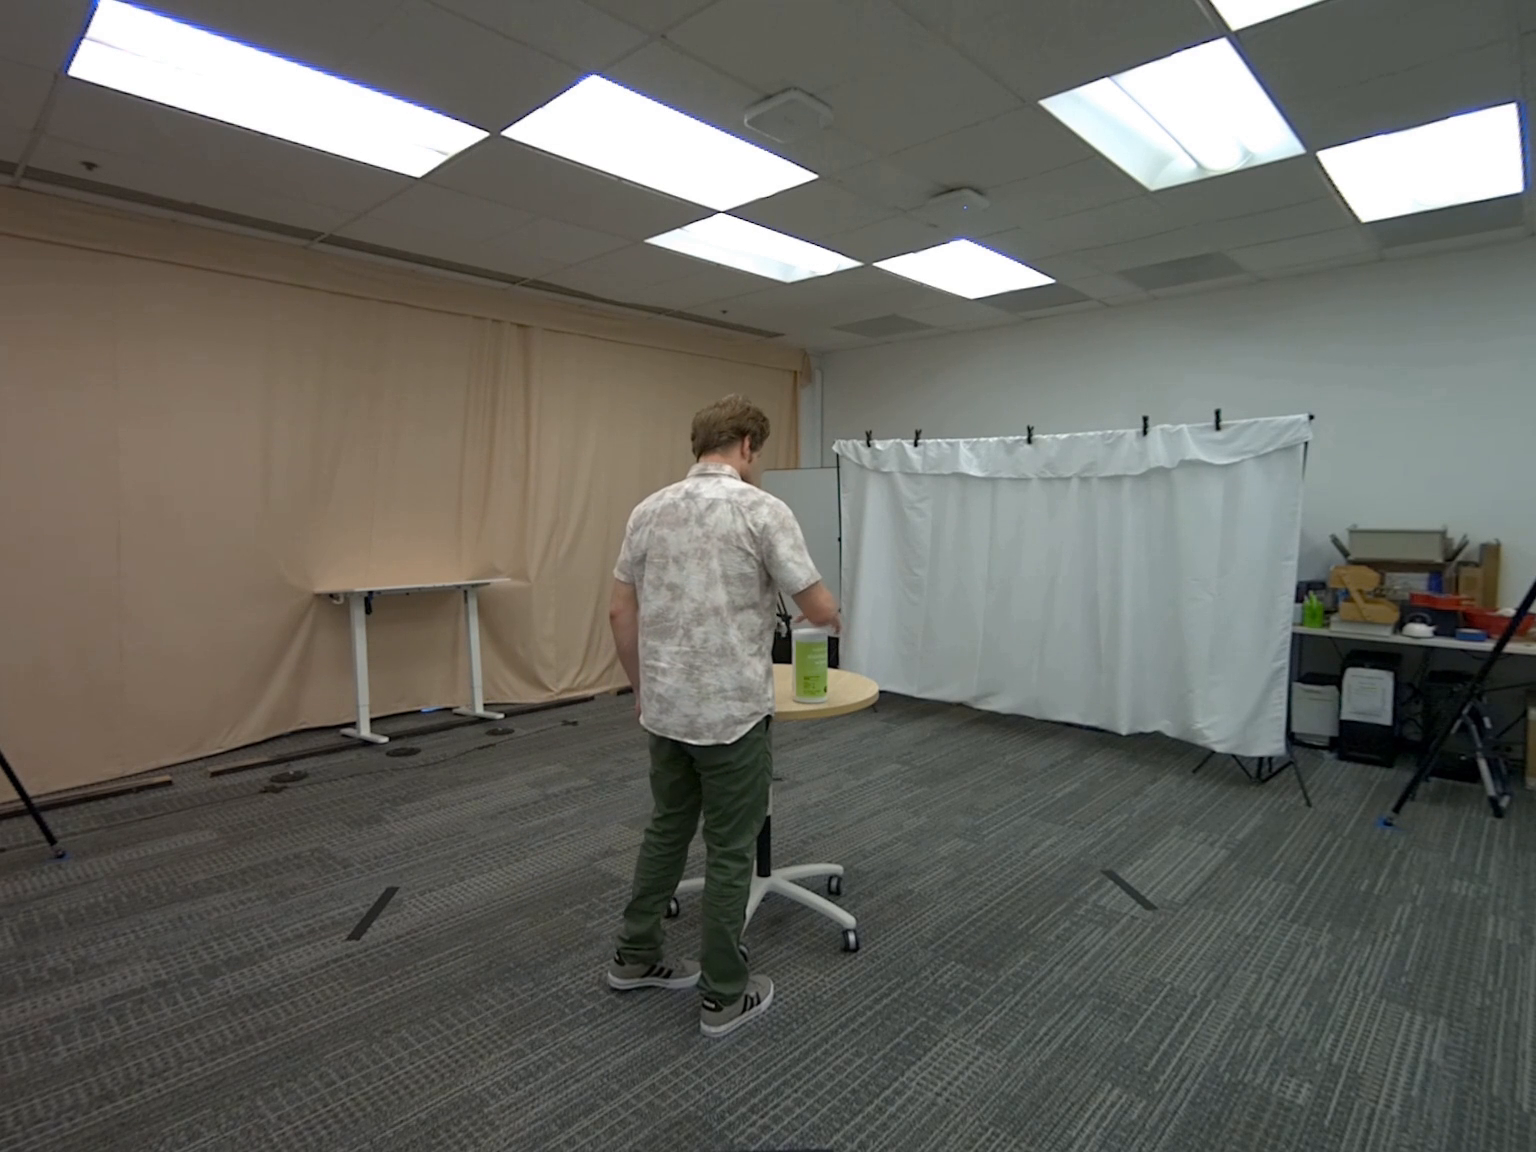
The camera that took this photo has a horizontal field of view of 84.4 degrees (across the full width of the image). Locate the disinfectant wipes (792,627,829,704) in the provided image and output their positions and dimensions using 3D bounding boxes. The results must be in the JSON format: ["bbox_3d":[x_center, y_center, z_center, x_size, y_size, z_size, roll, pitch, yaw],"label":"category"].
[{"bbox_3d":[0.132,0.276,2.586,0.118,0.217,0.118,2,2,-2],"label":"disinfectant wipes"}]
